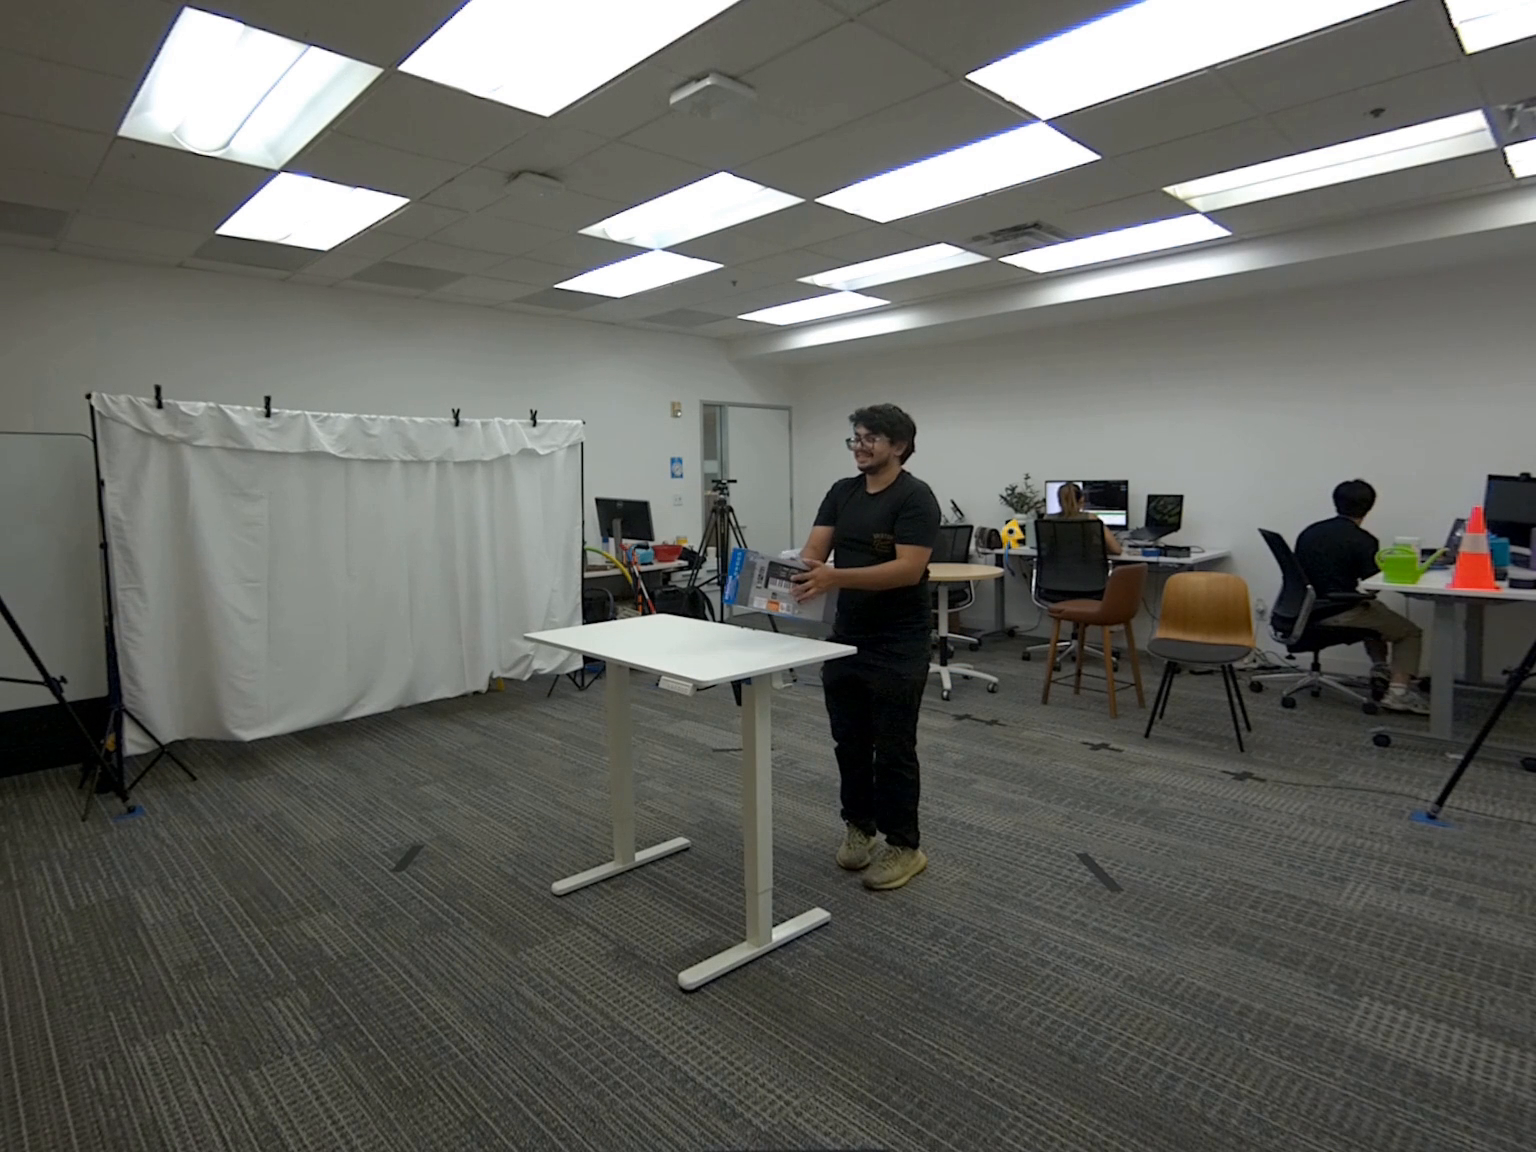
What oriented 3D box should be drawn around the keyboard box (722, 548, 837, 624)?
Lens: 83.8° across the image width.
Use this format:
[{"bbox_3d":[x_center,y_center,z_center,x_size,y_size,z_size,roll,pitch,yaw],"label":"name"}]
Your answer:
[{"bbox_3d":[0.058,0.039,2.700,0.422,0.176,0.061,14,-4,-39],"label":"keyboard box"}]
